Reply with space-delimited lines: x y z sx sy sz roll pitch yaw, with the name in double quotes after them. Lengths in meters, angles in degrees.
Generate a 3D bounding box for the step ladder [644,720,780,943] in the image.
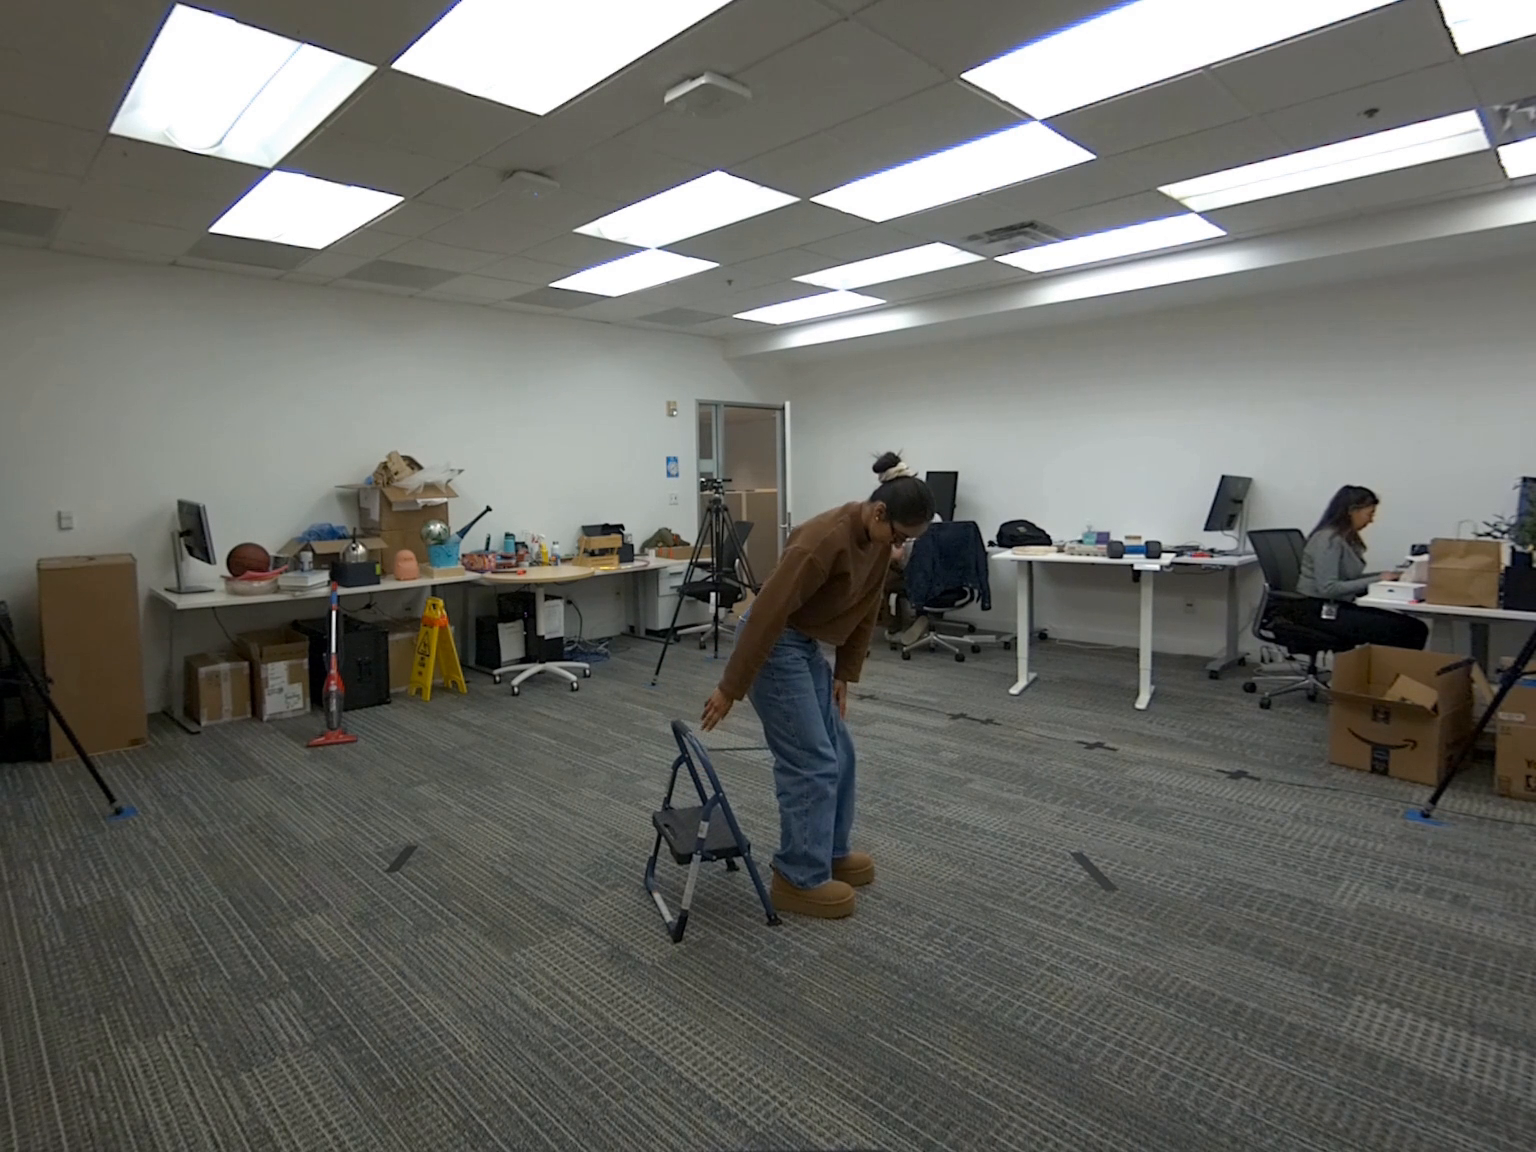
-0.193 0.782 2.803 0.343 0.604 0.440 -2 5 -21 "step ladder"
